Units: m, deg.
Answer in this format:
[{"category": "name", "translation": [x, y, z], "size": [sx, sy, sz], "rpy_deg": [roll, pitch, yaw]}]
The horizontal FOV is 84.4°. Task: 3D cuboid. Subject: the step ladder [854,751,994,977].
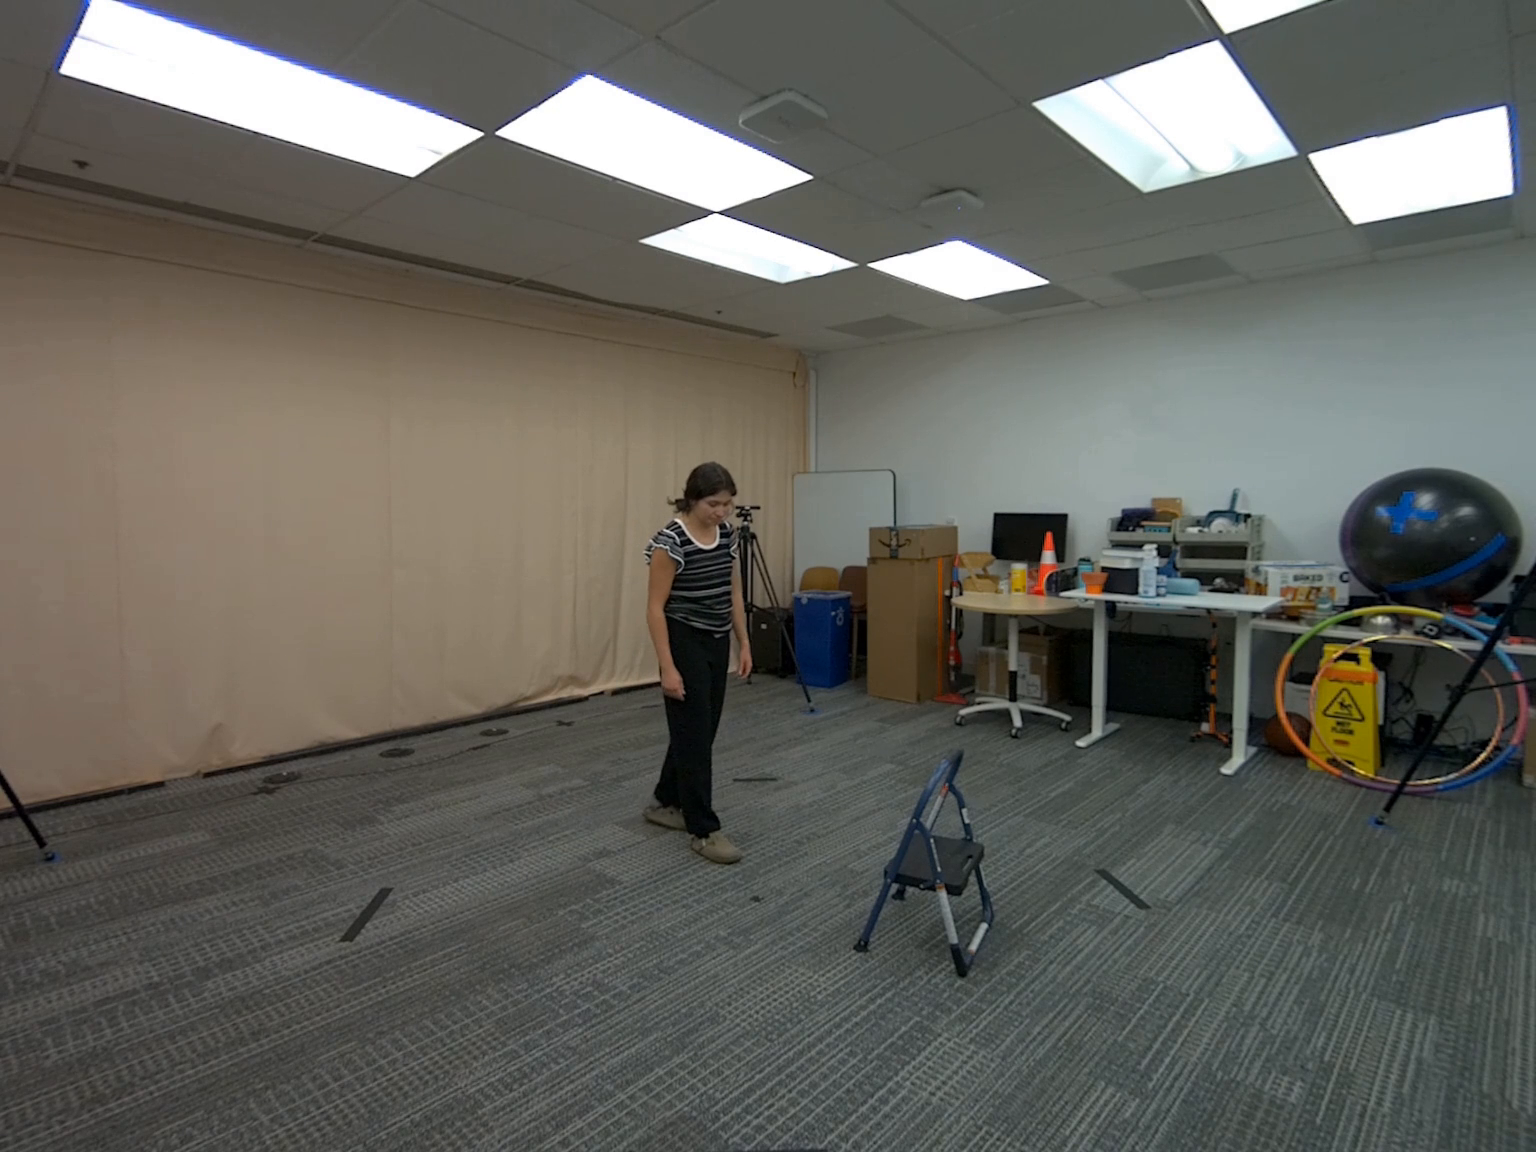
[{"category": "step ladder", "translation": [0.519, 0.862, 2.721], "size": [0.359, 0.605, 0.420], "rpy_deg": [1, 4, 27]}]
